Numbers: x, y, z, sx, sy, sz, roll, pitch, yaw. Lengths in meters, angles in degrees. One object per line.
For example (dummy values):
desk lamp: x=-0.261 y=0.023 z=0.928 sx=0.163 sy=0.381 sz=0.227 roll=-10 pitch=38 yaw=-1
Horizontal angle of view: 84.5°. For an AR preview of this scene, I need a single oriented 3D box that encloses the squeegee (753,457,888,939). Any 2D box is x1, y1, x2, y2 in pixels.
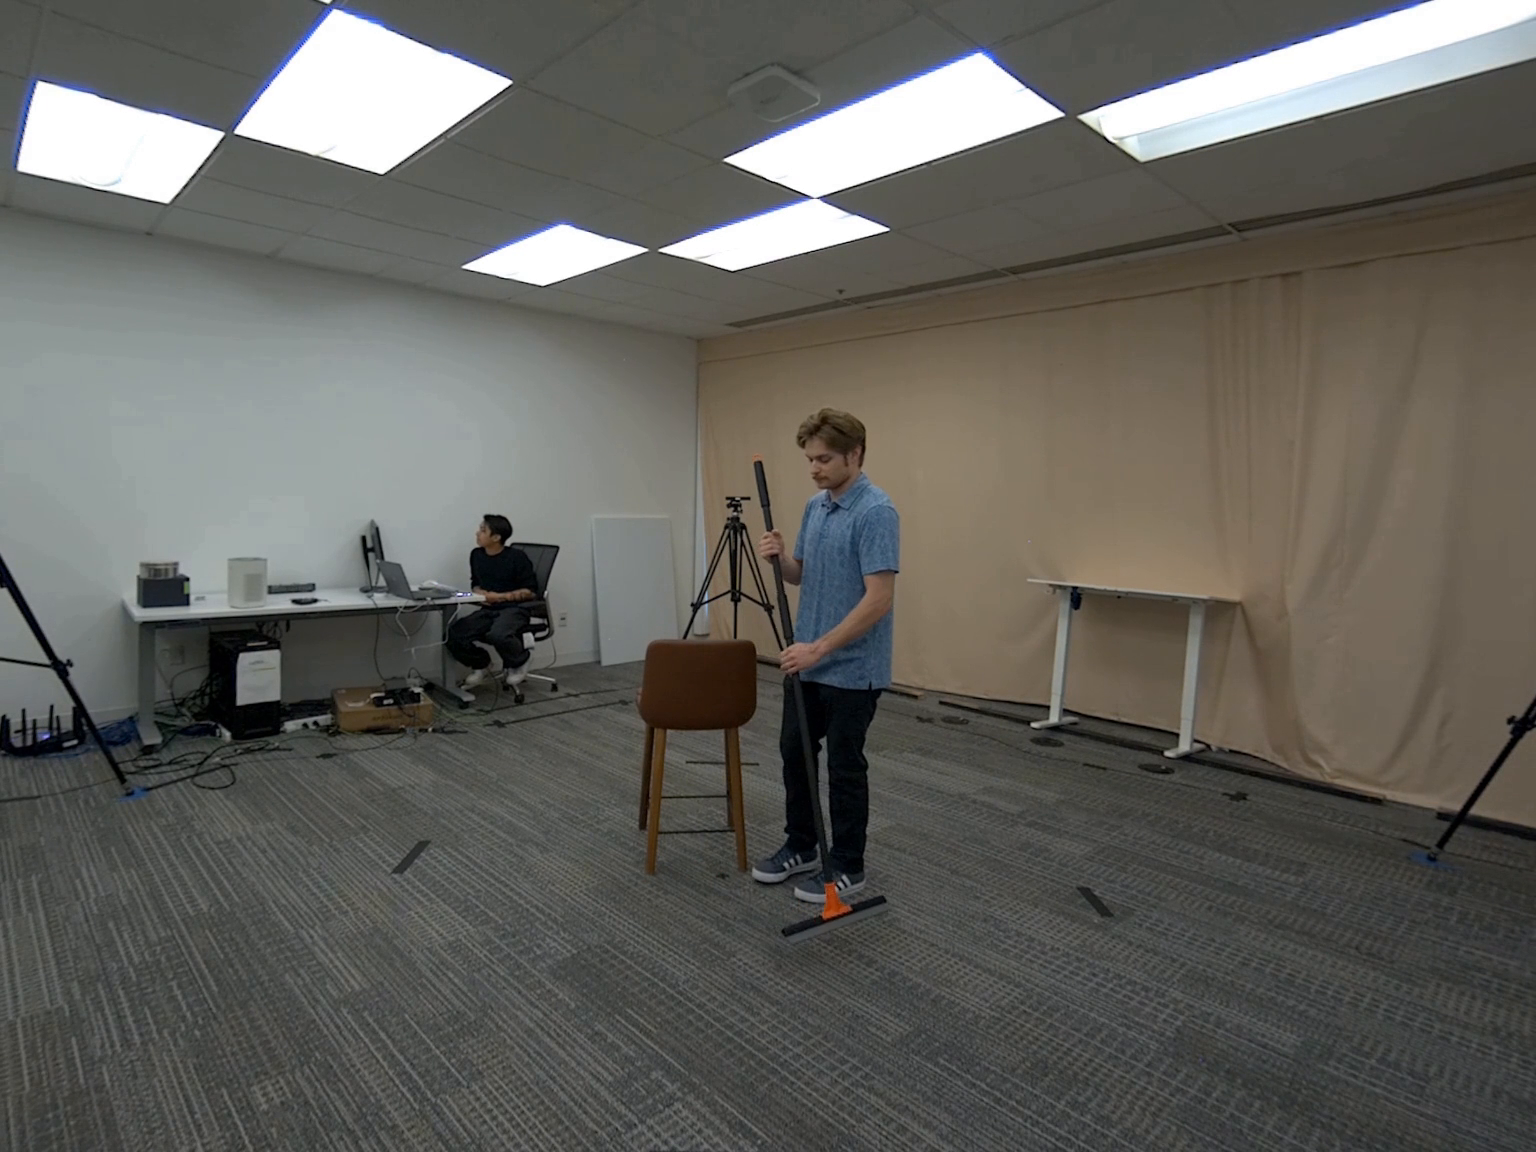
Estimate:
squeegee: x=0.082 y=0.330 z=2.747 sx=0.427 sy=1.556 sz=0.053 roll=1 pitch=-18 yaw=-37
